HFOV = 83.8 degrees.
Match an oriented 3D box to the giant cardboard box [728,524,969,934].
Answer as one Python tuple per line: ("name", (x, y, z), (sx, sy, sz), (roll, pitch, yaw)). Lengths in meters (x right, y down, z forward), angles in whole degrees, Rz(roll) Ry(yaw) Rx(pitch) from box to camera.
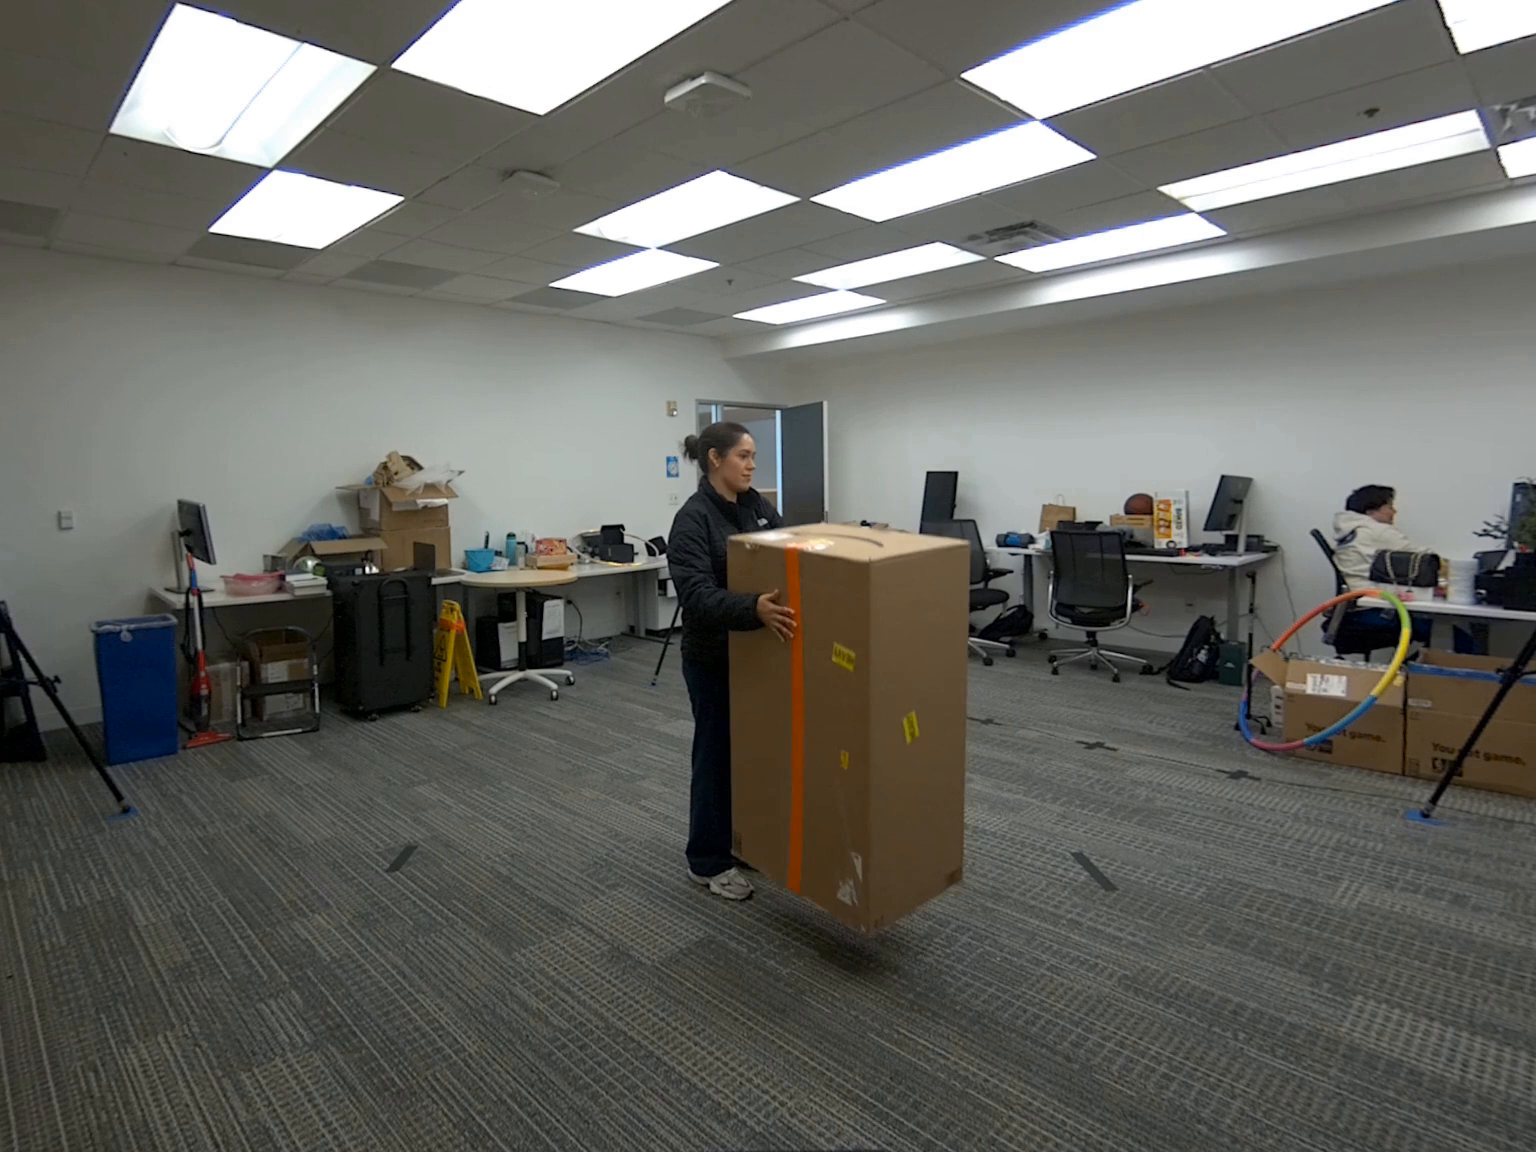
("giant cardboard box", (0.229, 0.411, 2.563), (0.416, 1.018, 0.596), (-7, 11, -40))
